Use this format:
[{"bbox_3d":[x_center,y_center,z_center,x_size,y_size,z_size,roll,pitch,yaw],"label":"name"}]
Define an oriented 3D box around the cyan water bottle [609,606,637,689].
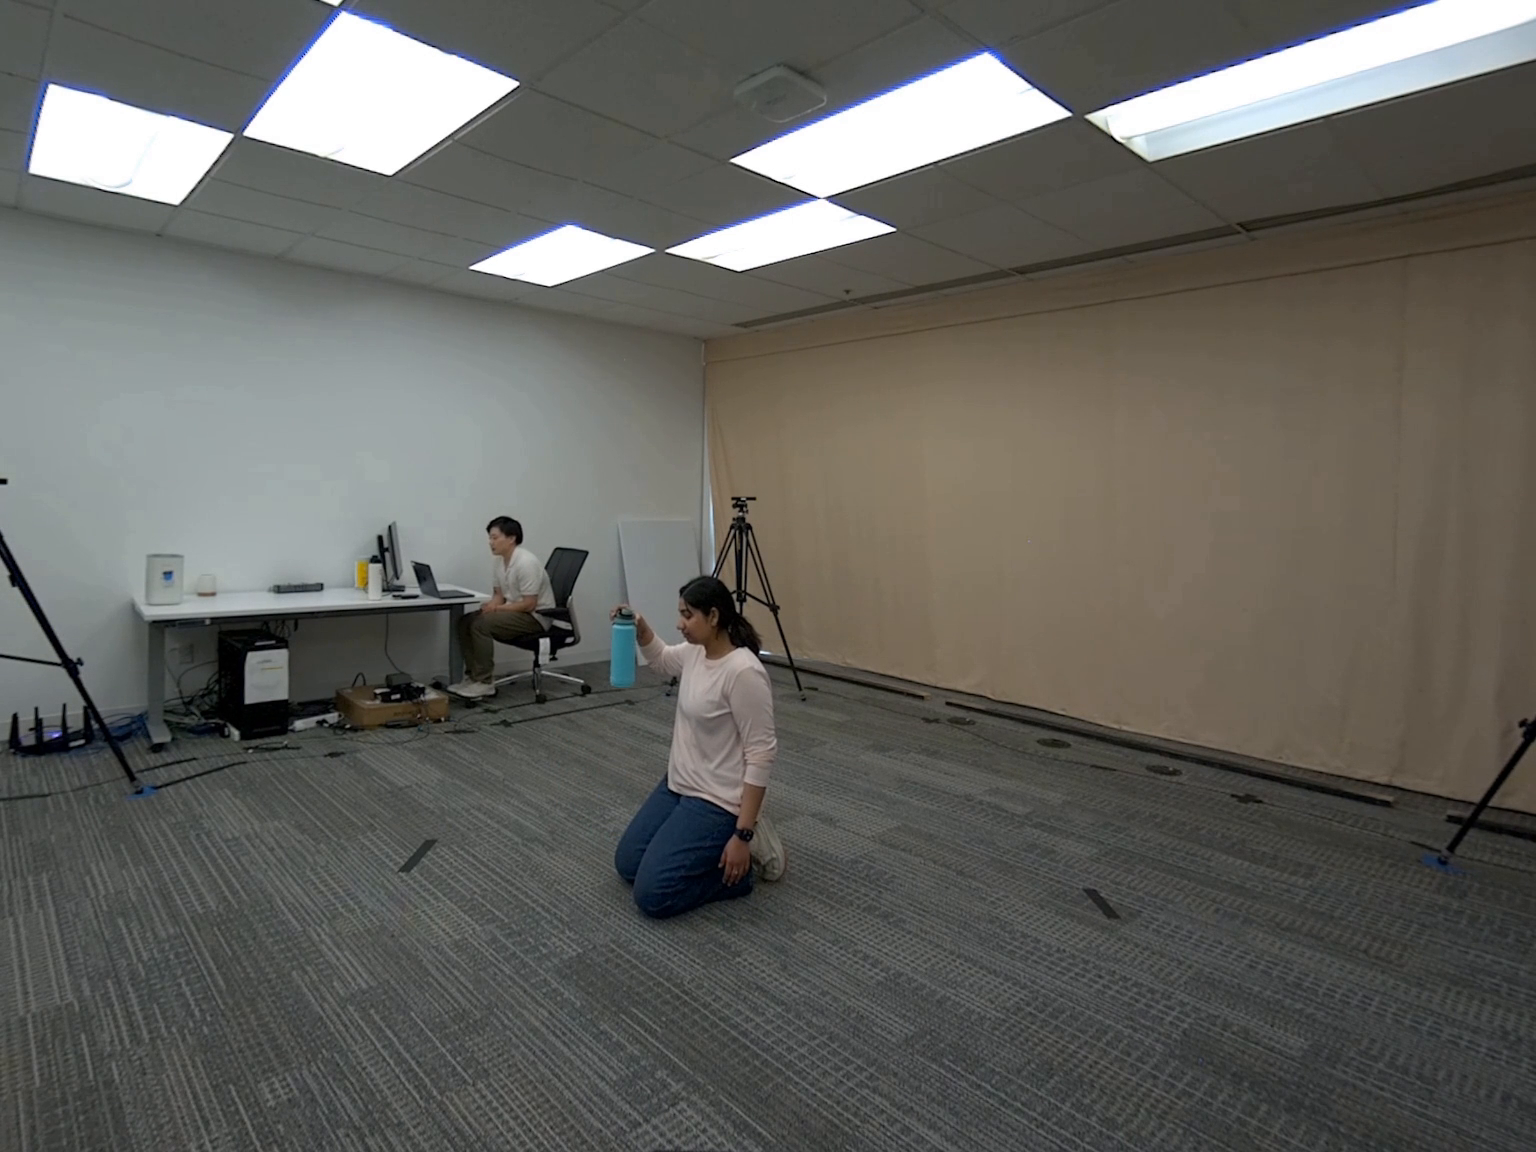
[{"bbox_3d":[-0.543,0.258,3.118,0.092,0.282,0.093,2,4,-2],"label":"cyan water bottle"}]
